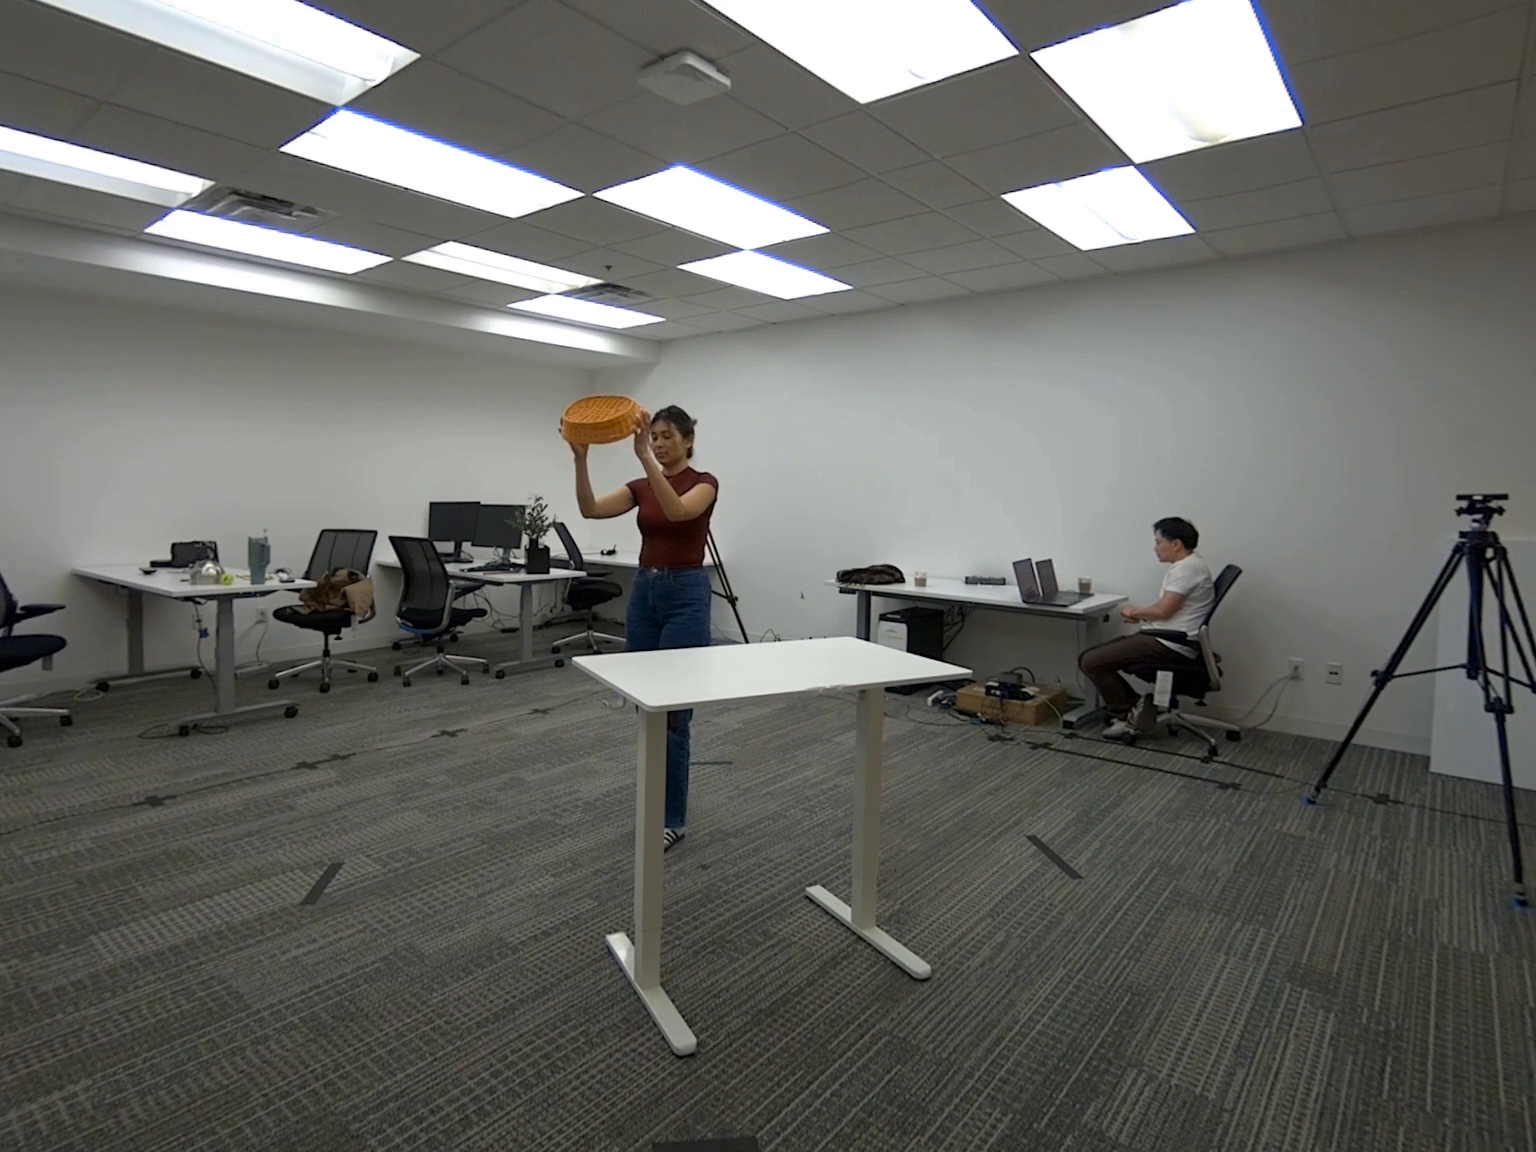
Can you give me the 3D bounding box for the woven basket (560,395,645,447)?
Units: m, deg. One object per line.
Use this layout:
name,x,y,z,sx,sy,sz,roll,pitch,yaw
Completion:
woven basket,-0.604,-0.576,3.052,0.359,0.071,0.255,3,45,24
